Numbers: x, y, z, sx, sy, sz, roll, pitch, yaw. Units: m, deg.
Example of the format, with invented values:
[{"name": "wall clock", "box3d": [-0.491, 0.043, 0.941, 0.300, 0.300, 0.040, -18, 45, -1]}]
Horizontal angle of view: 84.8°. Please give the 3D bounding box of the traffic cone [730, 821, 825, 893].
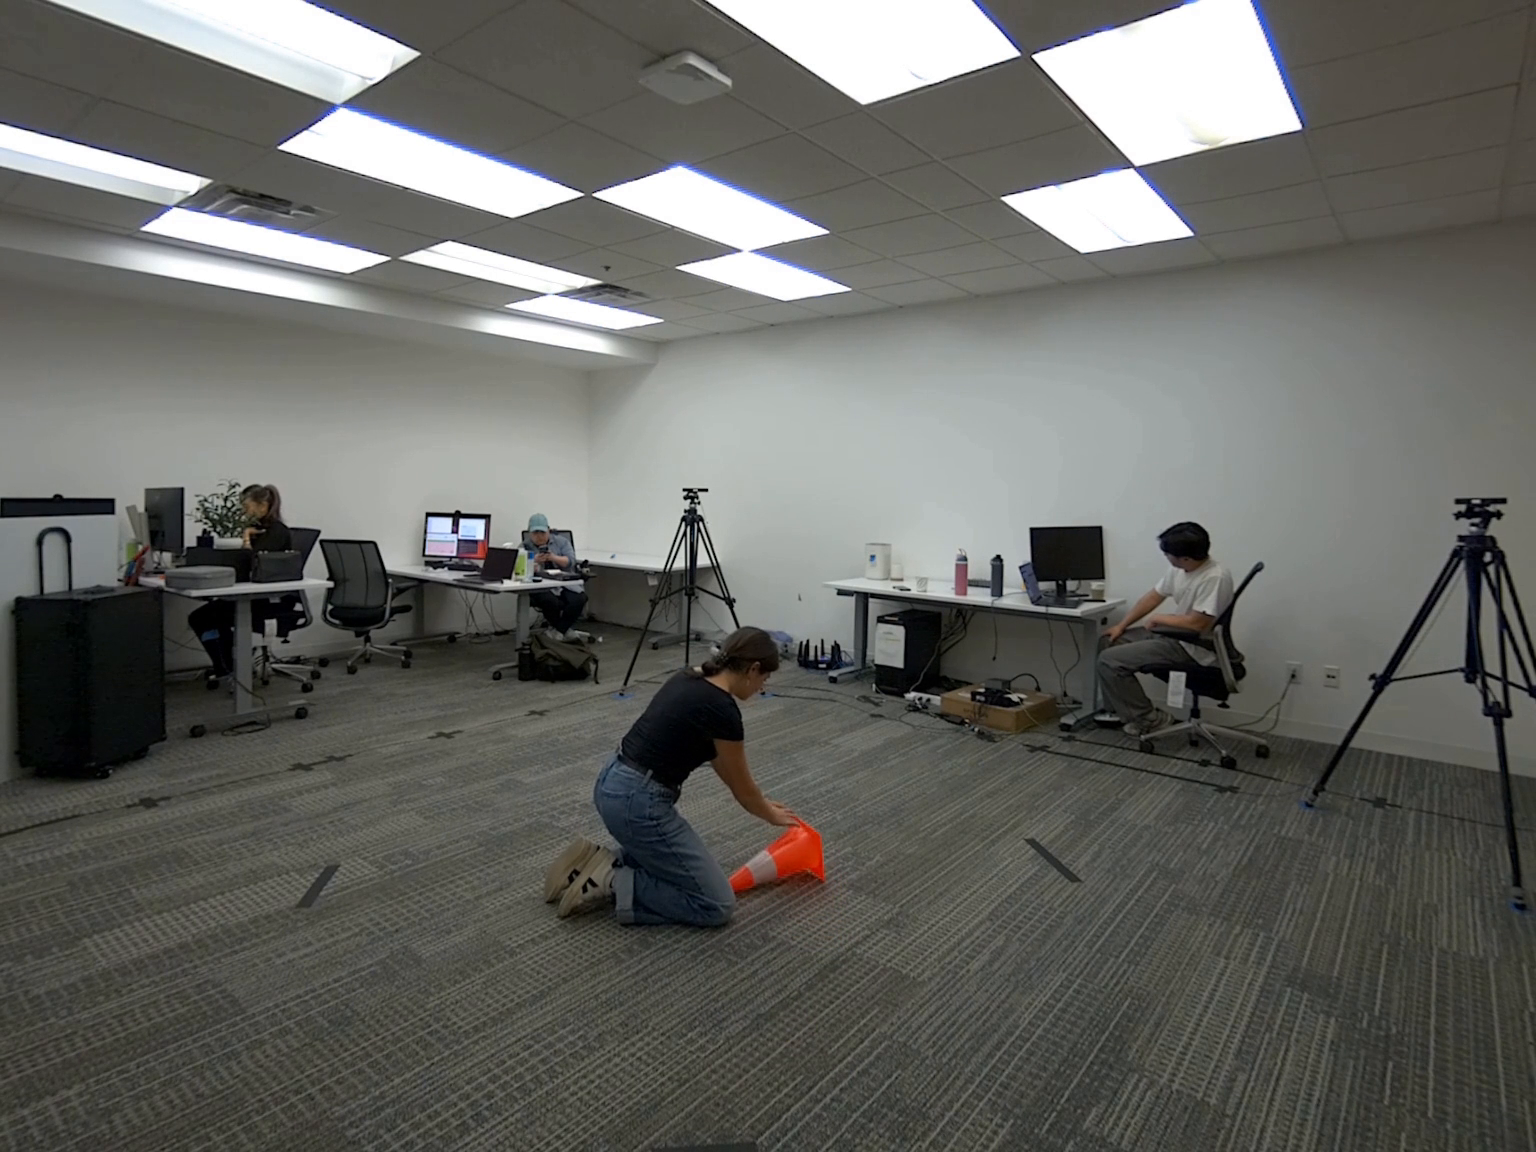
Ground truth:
[{"name": "traffic cone", "box3d": [-0.010, 1.030, 2.986, 0.377, 0.199, 0.212, -19, 21, -29]}]
